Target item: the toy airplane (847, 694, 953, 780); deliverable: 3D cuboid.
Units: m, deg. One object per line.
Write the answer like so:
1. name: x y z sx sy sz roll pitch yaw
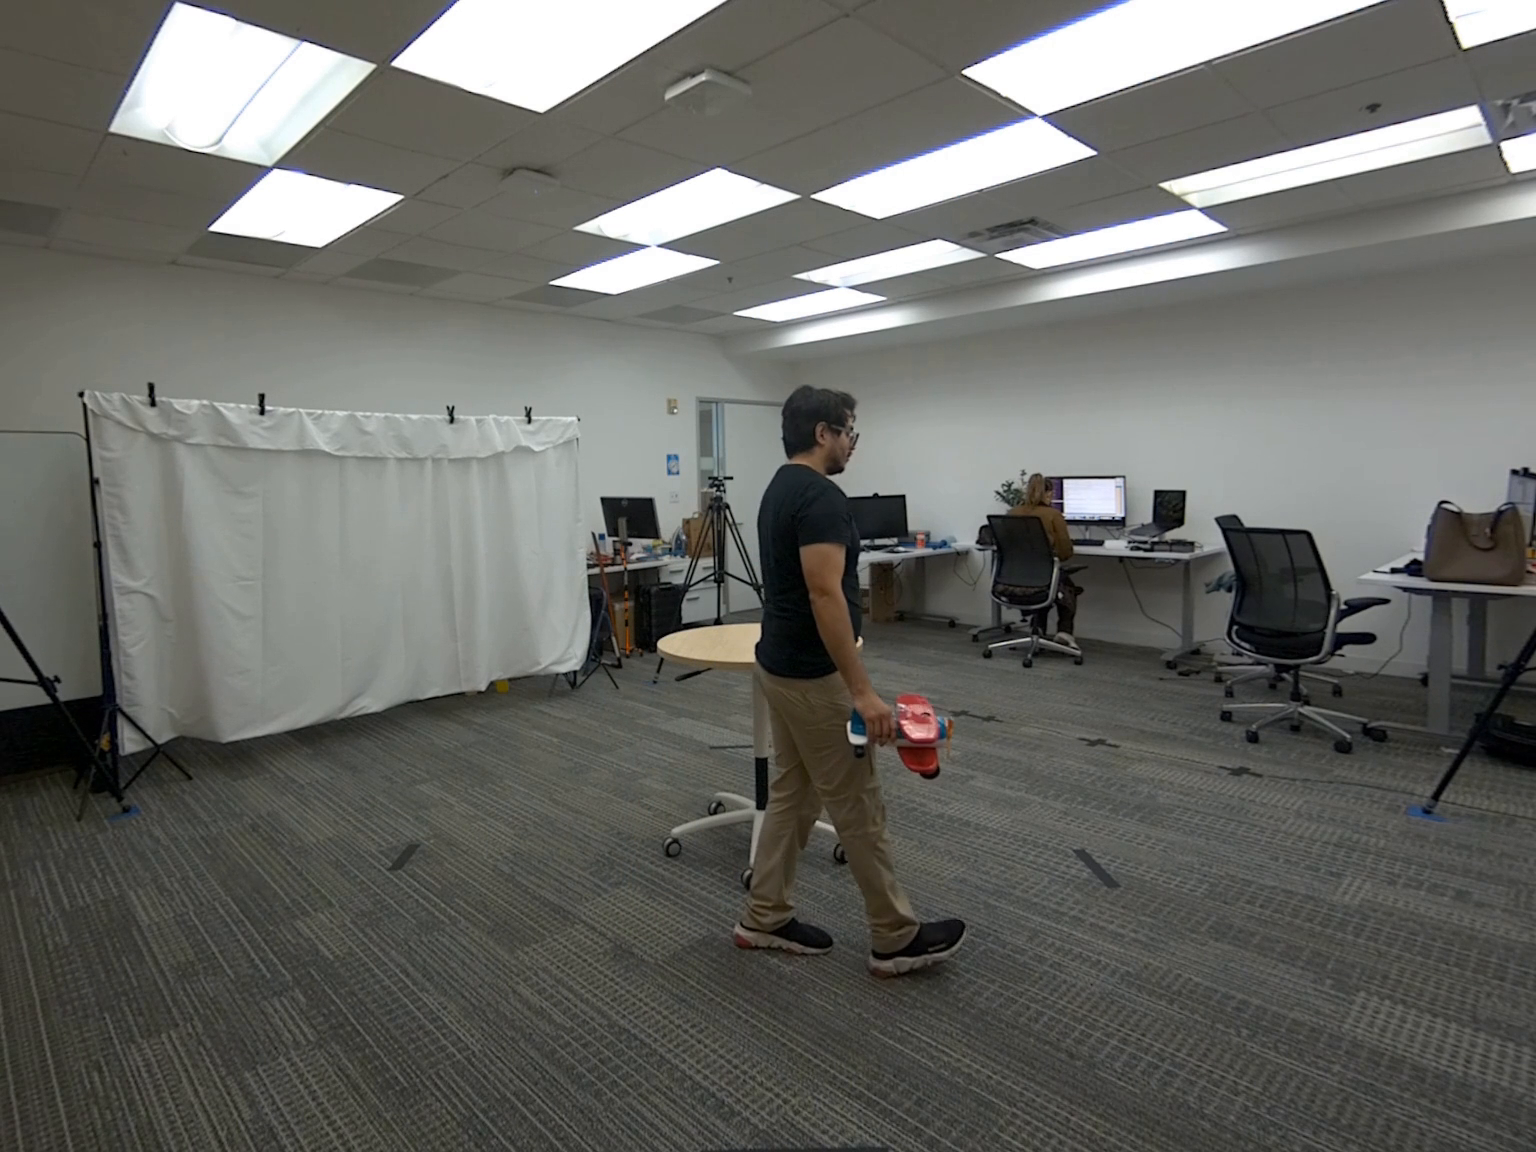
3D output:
1. toy airplane: 0.343 0.414 2.174 0.252 0.155 0.260 5 15 -30
